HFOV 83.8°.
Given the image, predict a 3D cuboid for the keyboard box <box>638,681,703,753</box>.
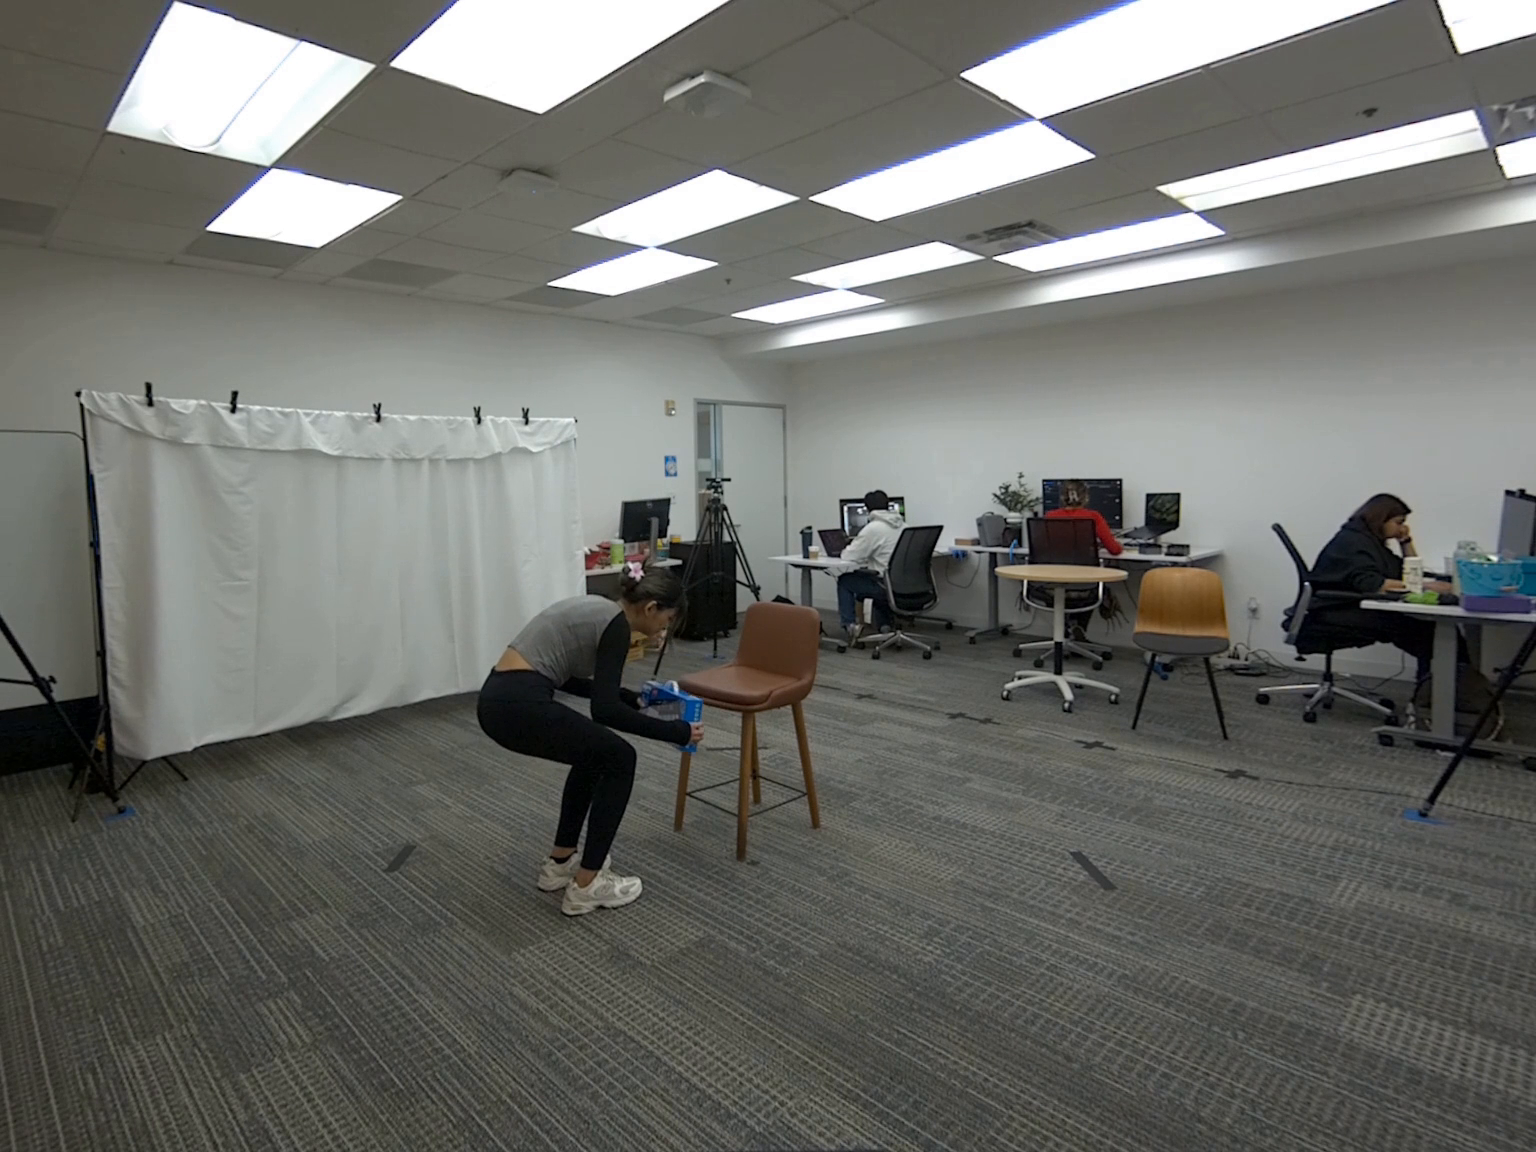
[{"bbox_3d":[-0.352,0.490,3.012,0.057,0.176,0.446,10,-3,-27],"label":"keyboard box"}]
